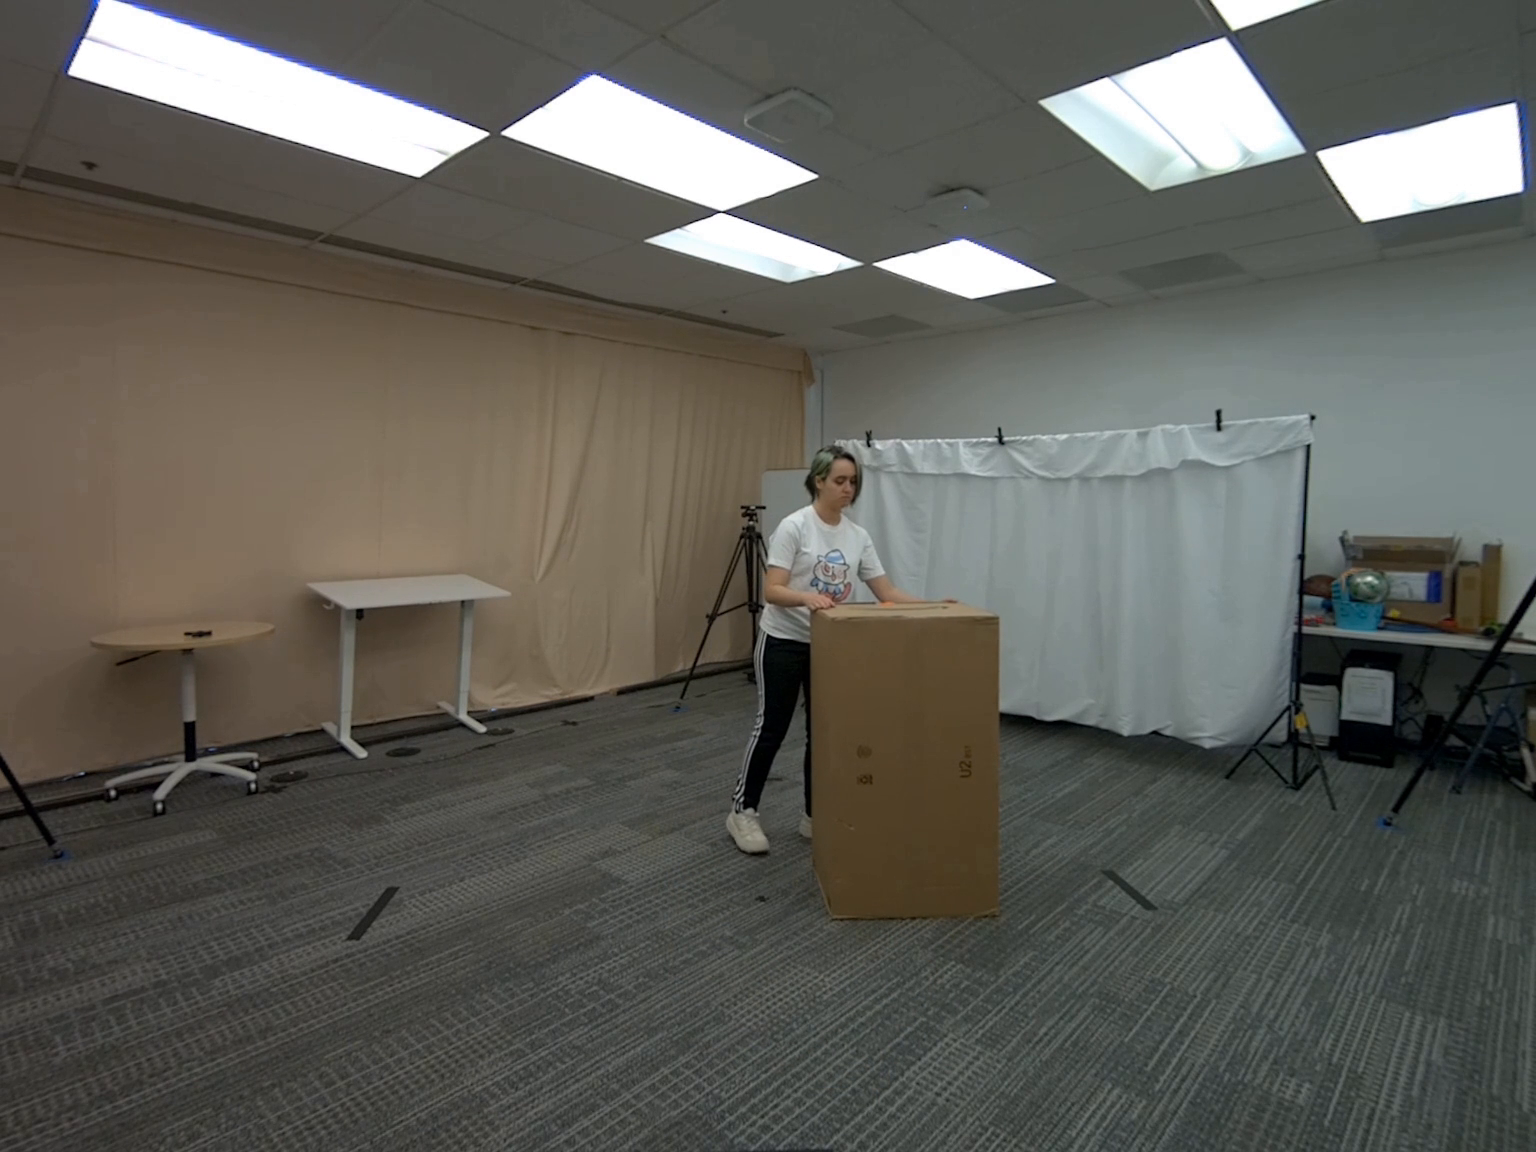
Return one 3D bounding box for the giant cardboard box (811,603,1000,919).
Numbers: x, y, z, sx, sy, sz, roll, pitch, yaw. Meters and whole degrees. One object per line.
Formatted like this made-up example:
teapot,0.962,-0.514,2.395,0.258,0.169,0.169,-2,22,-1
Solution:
giant cardboard box,0.475,0.632,3.023,0.577,1.024,0.428,-1,3,-2
